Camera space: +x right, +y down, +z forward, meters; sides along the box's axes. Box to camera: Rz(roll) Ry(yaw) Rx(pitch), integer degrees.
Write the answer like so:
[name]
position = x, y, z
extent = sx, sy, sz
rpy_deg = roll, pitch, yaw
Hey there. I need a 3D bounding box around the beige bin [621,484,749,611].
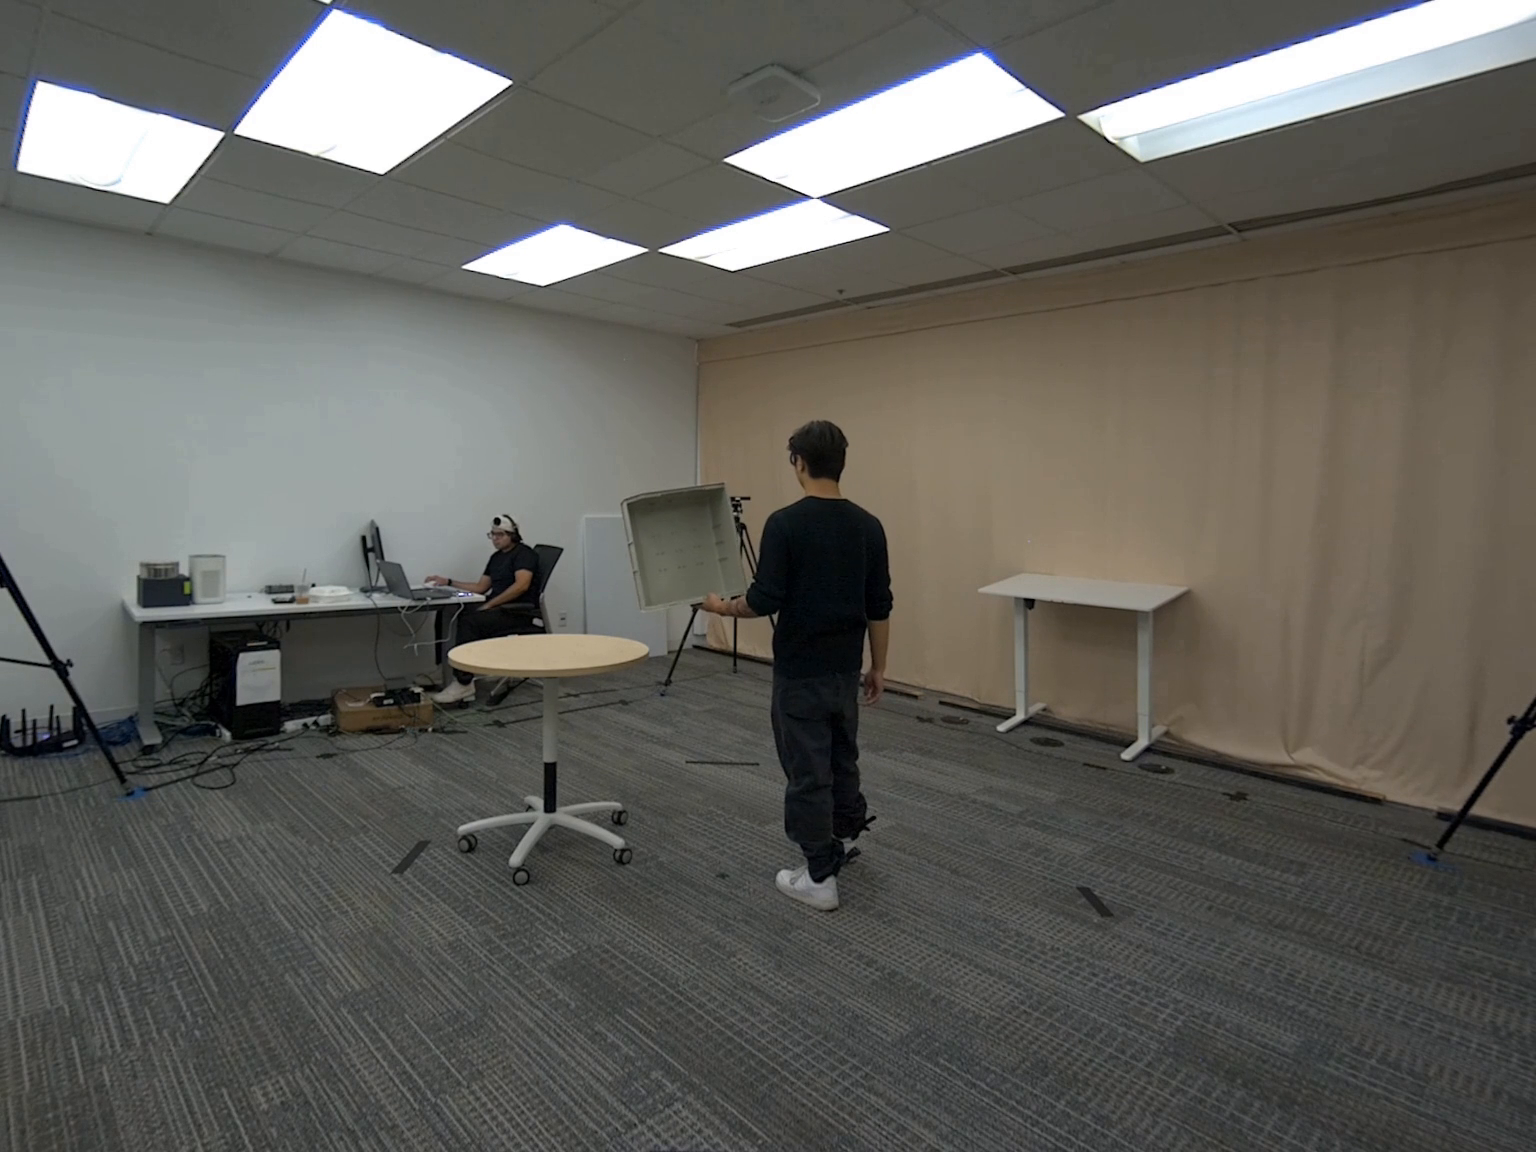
[beige bin]
position = -0.328, -0.103, 3.102
extent = 0.371, 0.423, 0.191
rpy_deg = -10, -3, -27
